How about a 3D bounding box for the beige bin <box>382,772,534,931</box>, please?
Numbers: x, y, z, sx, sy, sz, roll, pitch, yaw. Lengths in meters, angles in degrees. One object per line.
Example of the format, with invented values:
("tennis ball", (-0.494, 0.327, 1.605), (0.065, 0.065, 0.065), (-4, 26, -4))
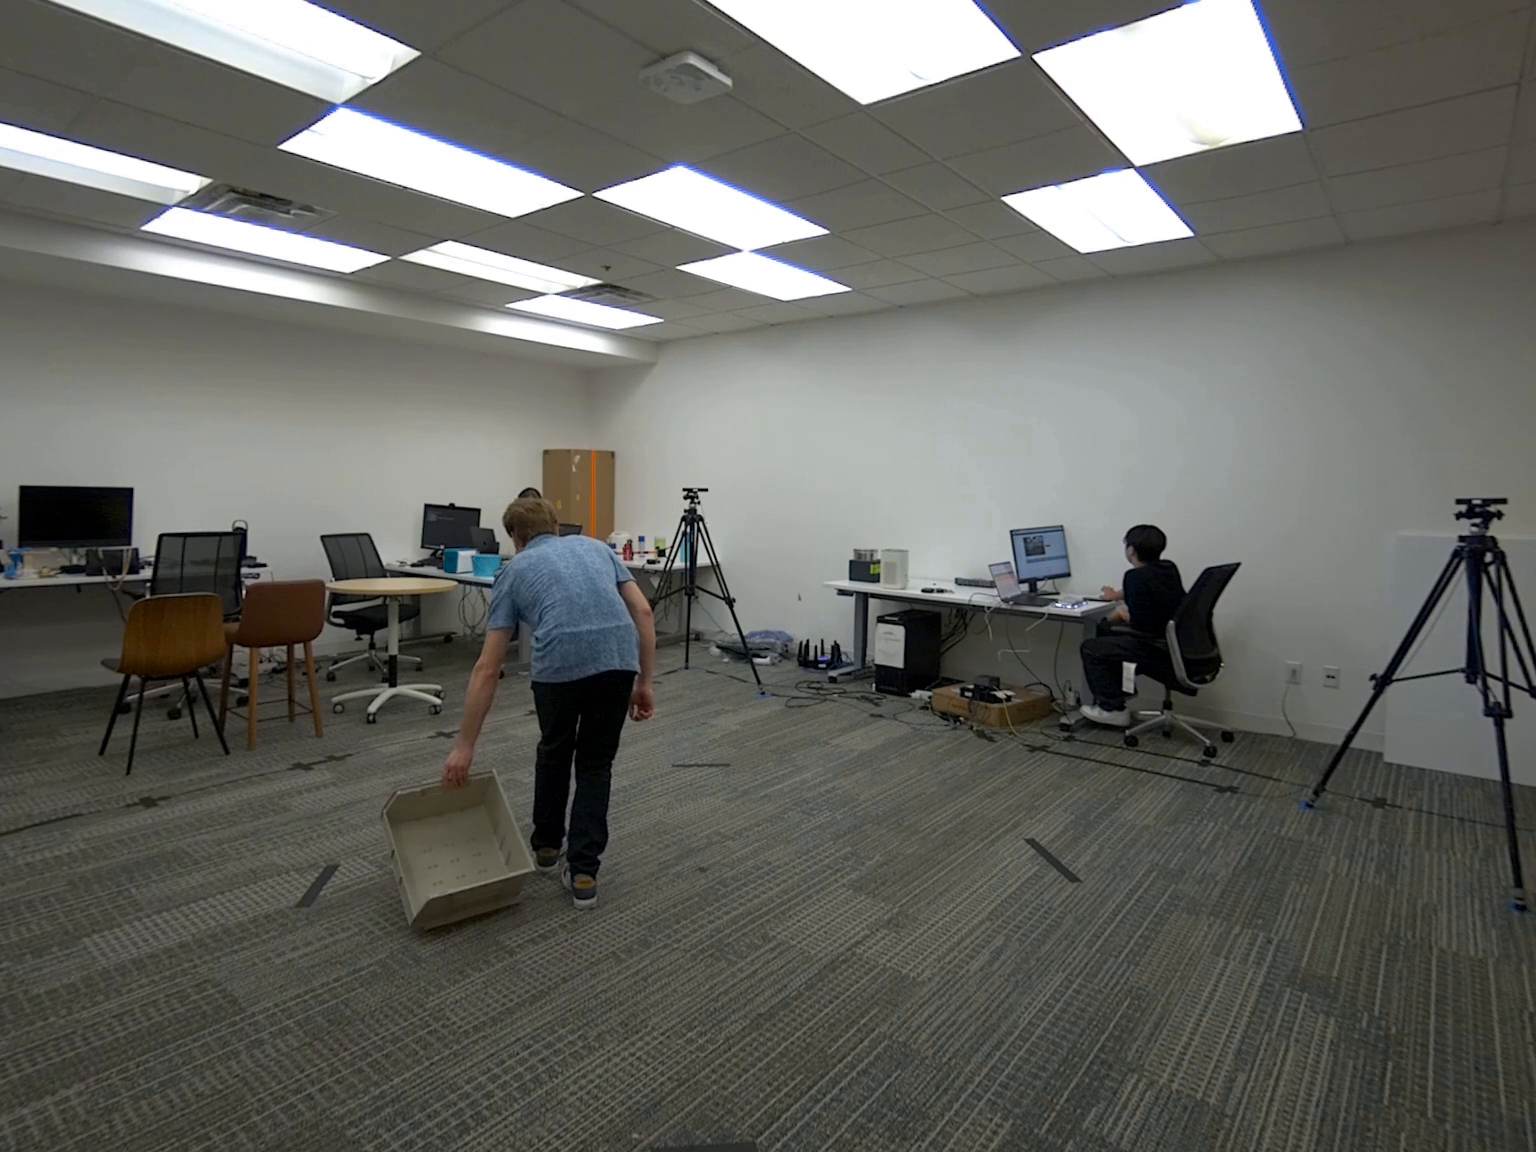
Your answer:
("beige bin", (-1.048, 0.896, 2.822), (0.366, 0.186, 0.440), (-4, 38, -38))
